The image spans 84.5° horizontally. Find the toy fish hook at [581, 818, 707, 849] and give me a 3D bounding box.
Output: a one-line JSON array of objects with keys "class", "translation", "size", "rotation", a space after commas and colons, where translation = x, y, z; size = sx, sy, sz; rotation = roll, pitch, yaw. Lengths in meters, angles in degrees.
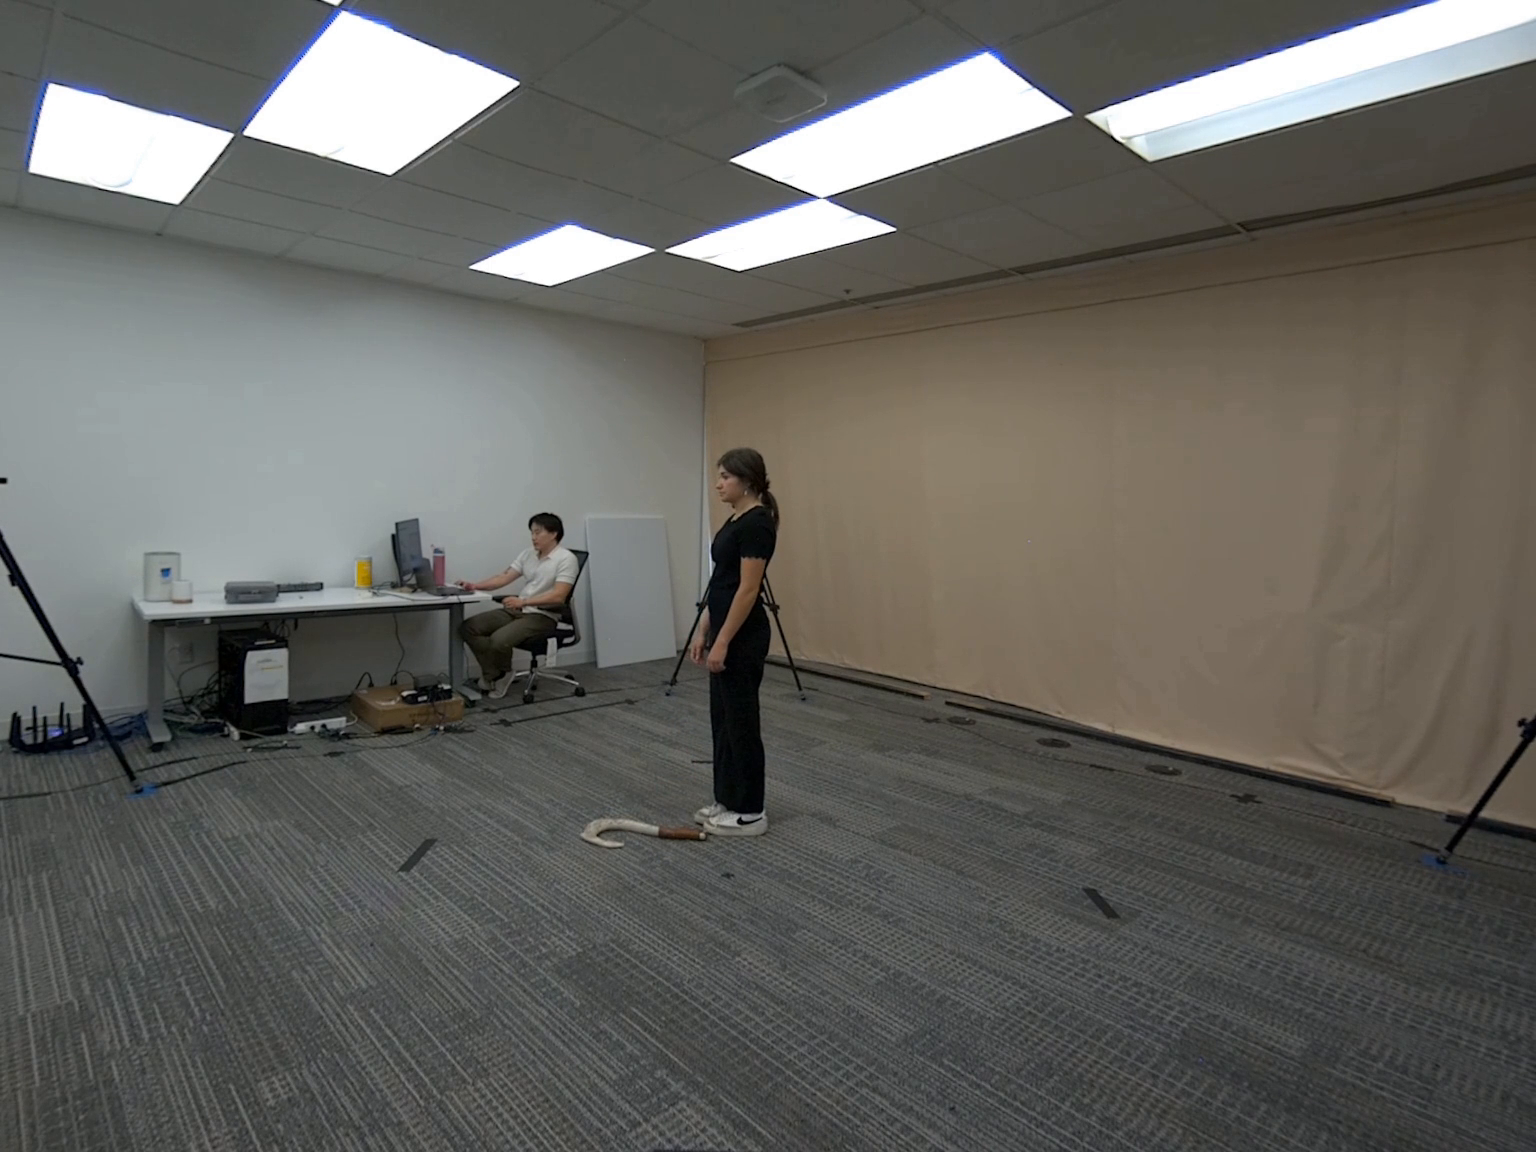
[{"class": "toy fish hook", "translation": [-0.507, 1.052, 3.406], "size": [0.510, 0.048, 0.225], "rotation": [1, 12, 9]}]
